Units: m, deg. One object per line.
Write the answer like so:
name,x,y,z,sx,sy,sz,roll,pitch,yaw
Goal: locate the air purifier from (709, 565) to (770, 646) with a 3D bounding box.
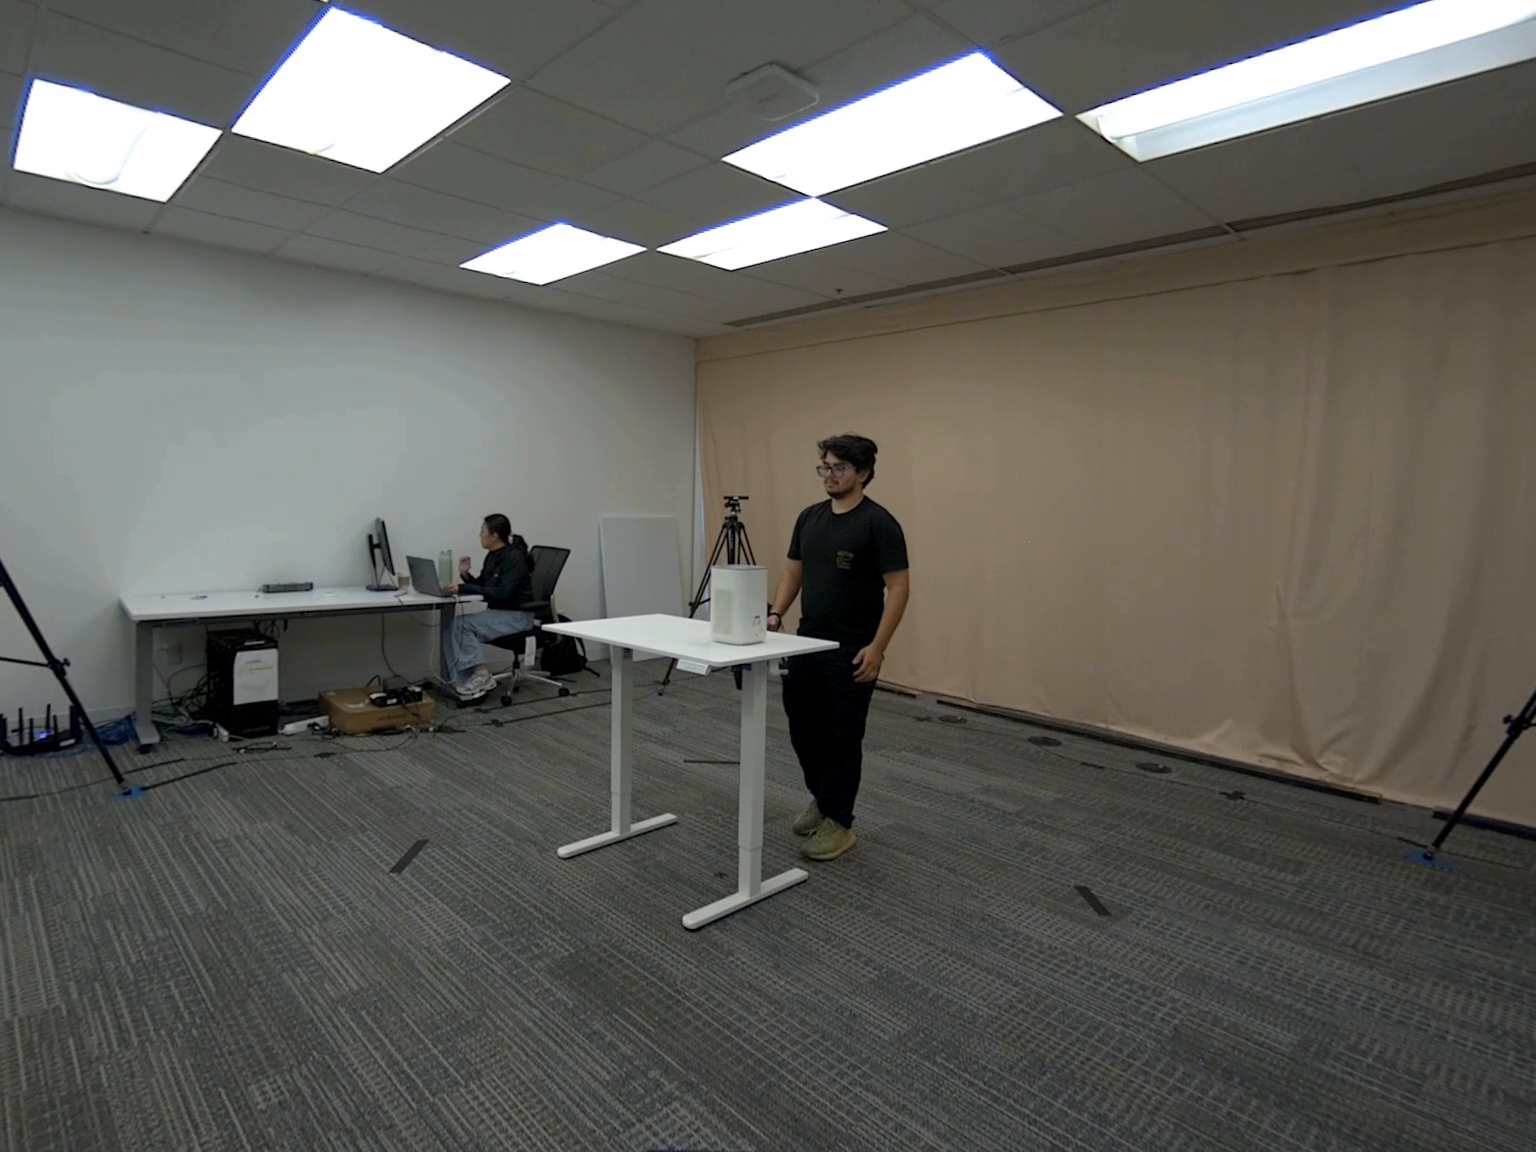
air purifier,-0.103,0.100,2.952,0.176,0.265,0.167,3,4,40
